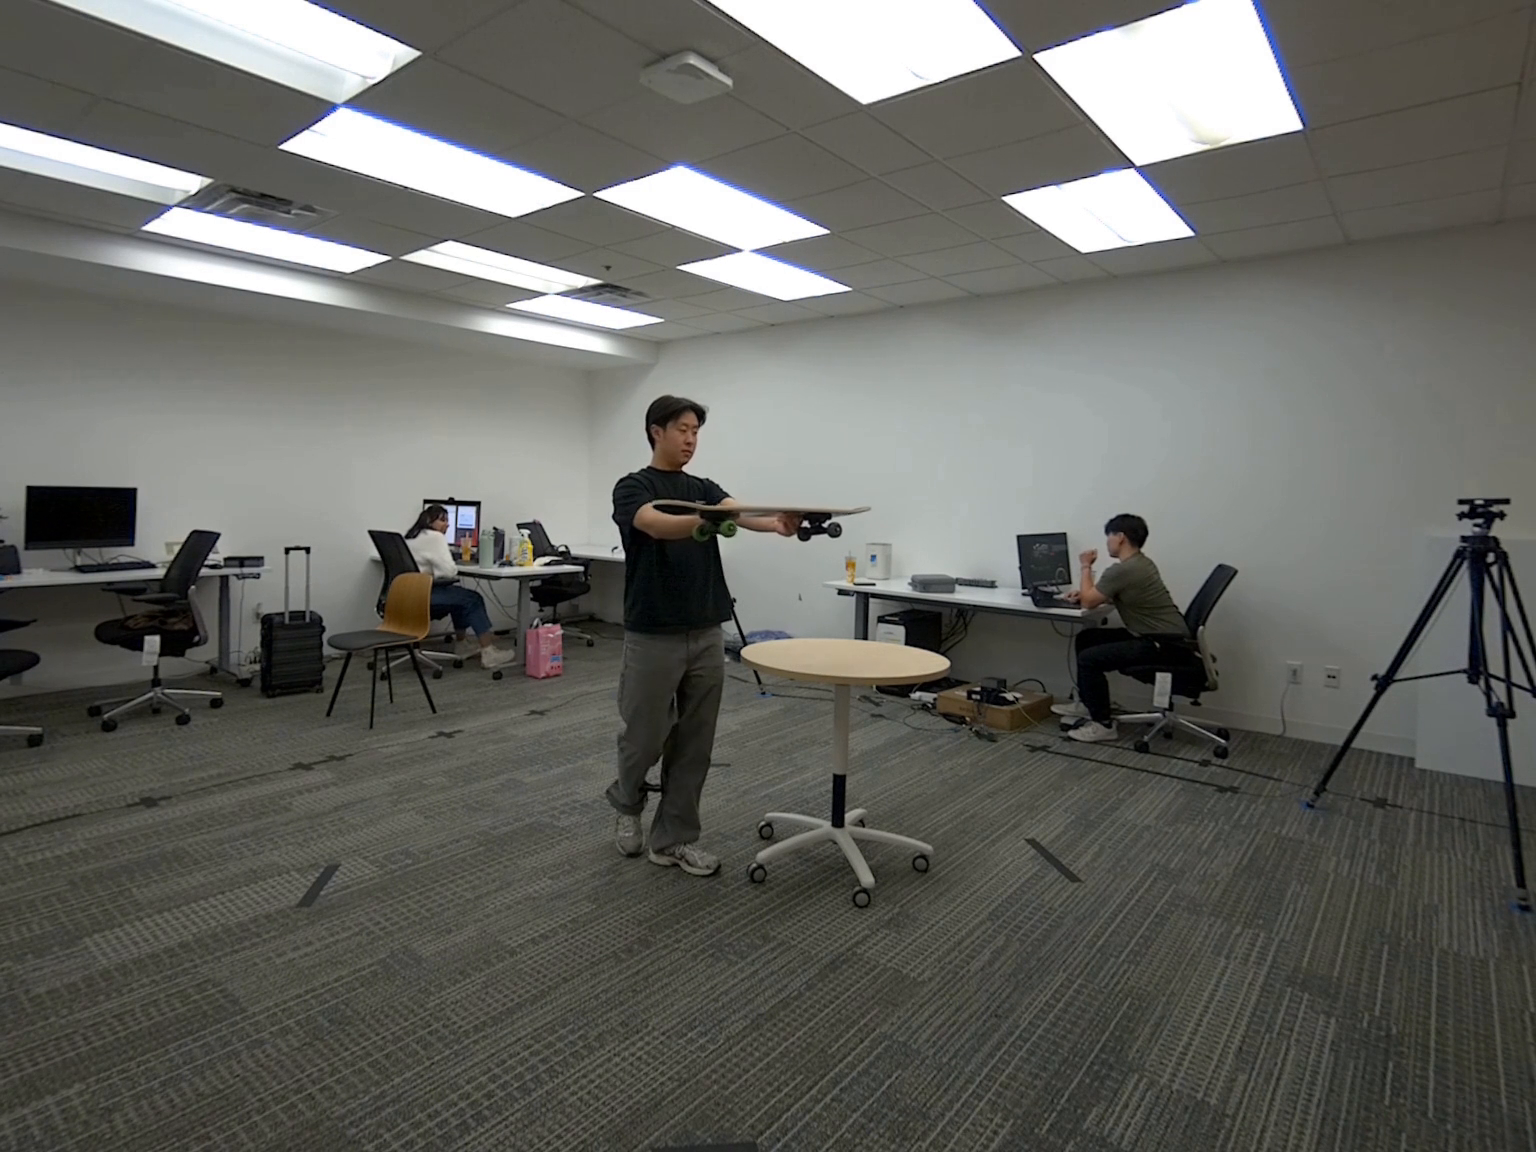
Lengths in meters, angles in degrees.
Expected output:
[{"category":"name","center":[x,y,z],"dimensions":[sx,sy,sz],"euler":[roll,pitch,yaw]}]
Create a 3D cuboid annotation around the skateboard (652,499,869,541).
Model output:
[{"category":"skateboard","center":[-0.008,-0.173,2.635],"dimensions":[0.763,0.110,0.199],"euler":[-2,0,-34]}]
